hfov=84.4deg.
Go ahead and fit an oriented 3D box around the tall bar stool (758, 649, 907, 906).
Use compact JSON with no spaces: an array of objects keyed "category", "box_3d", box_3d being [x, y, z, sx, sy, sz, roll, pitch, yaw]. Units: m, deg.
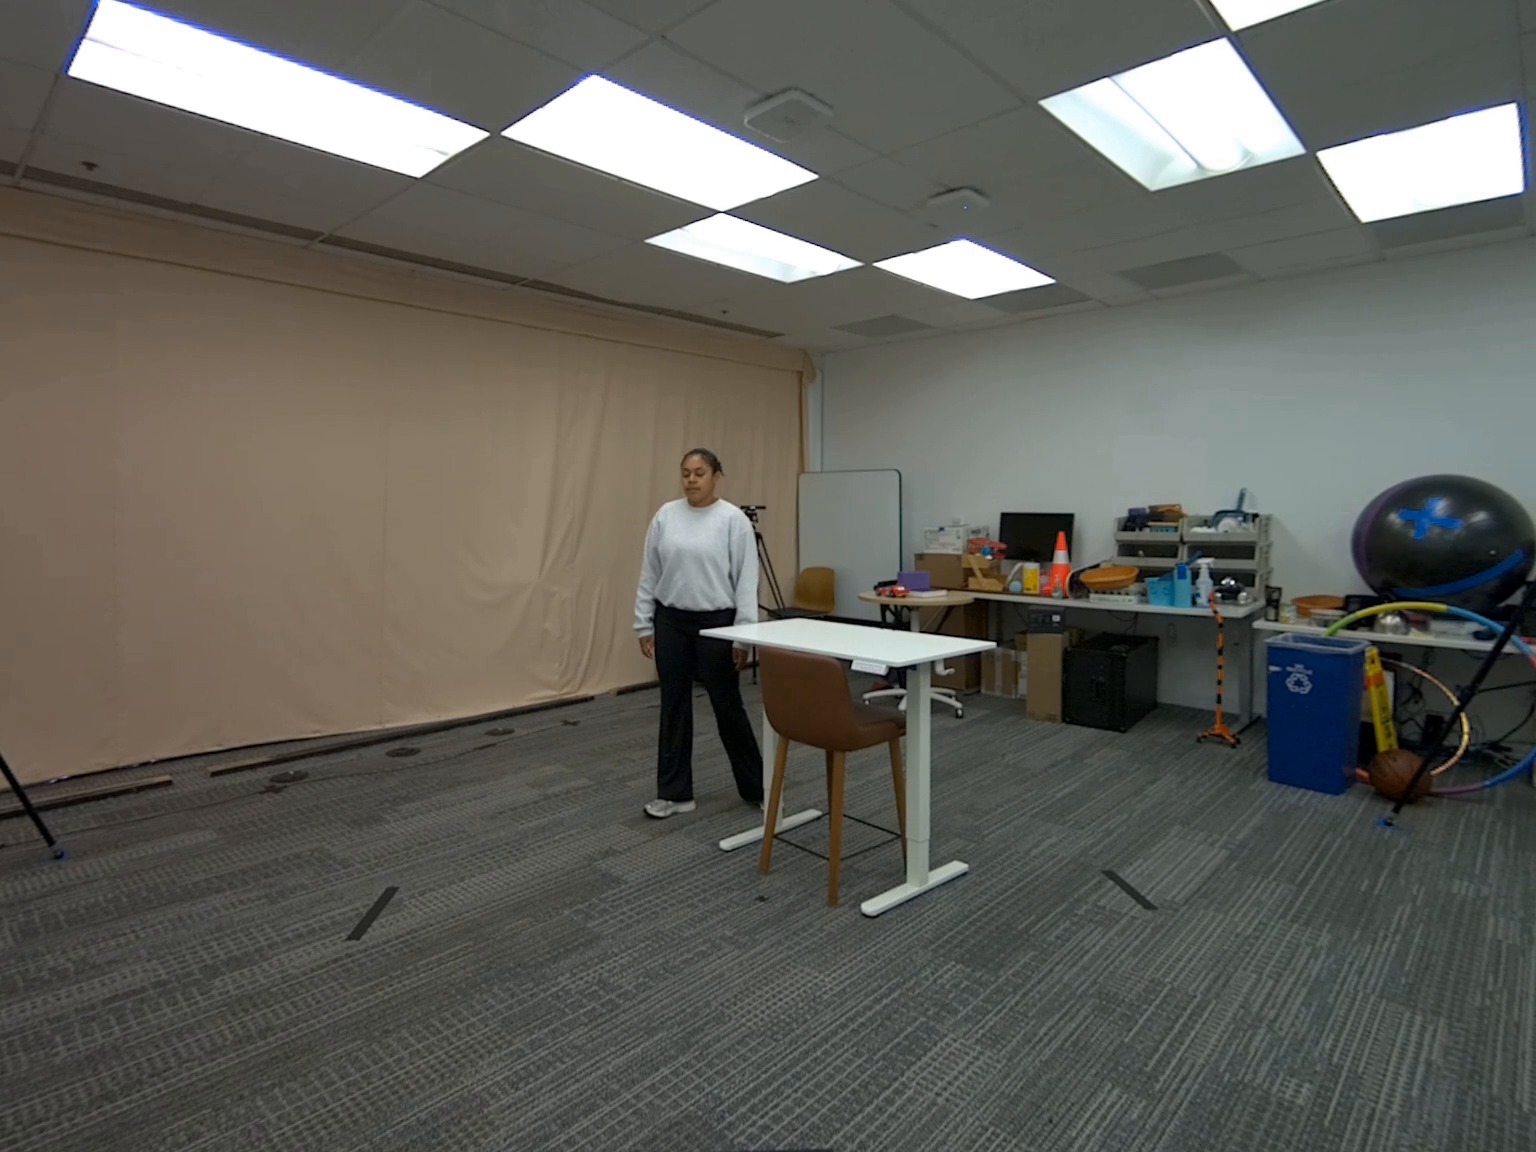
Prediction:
[{"category":"tall bar stool","box_3d":[0.254,0.693,3.174,0.453,0.887,0.472,-5,6,-42]}]
